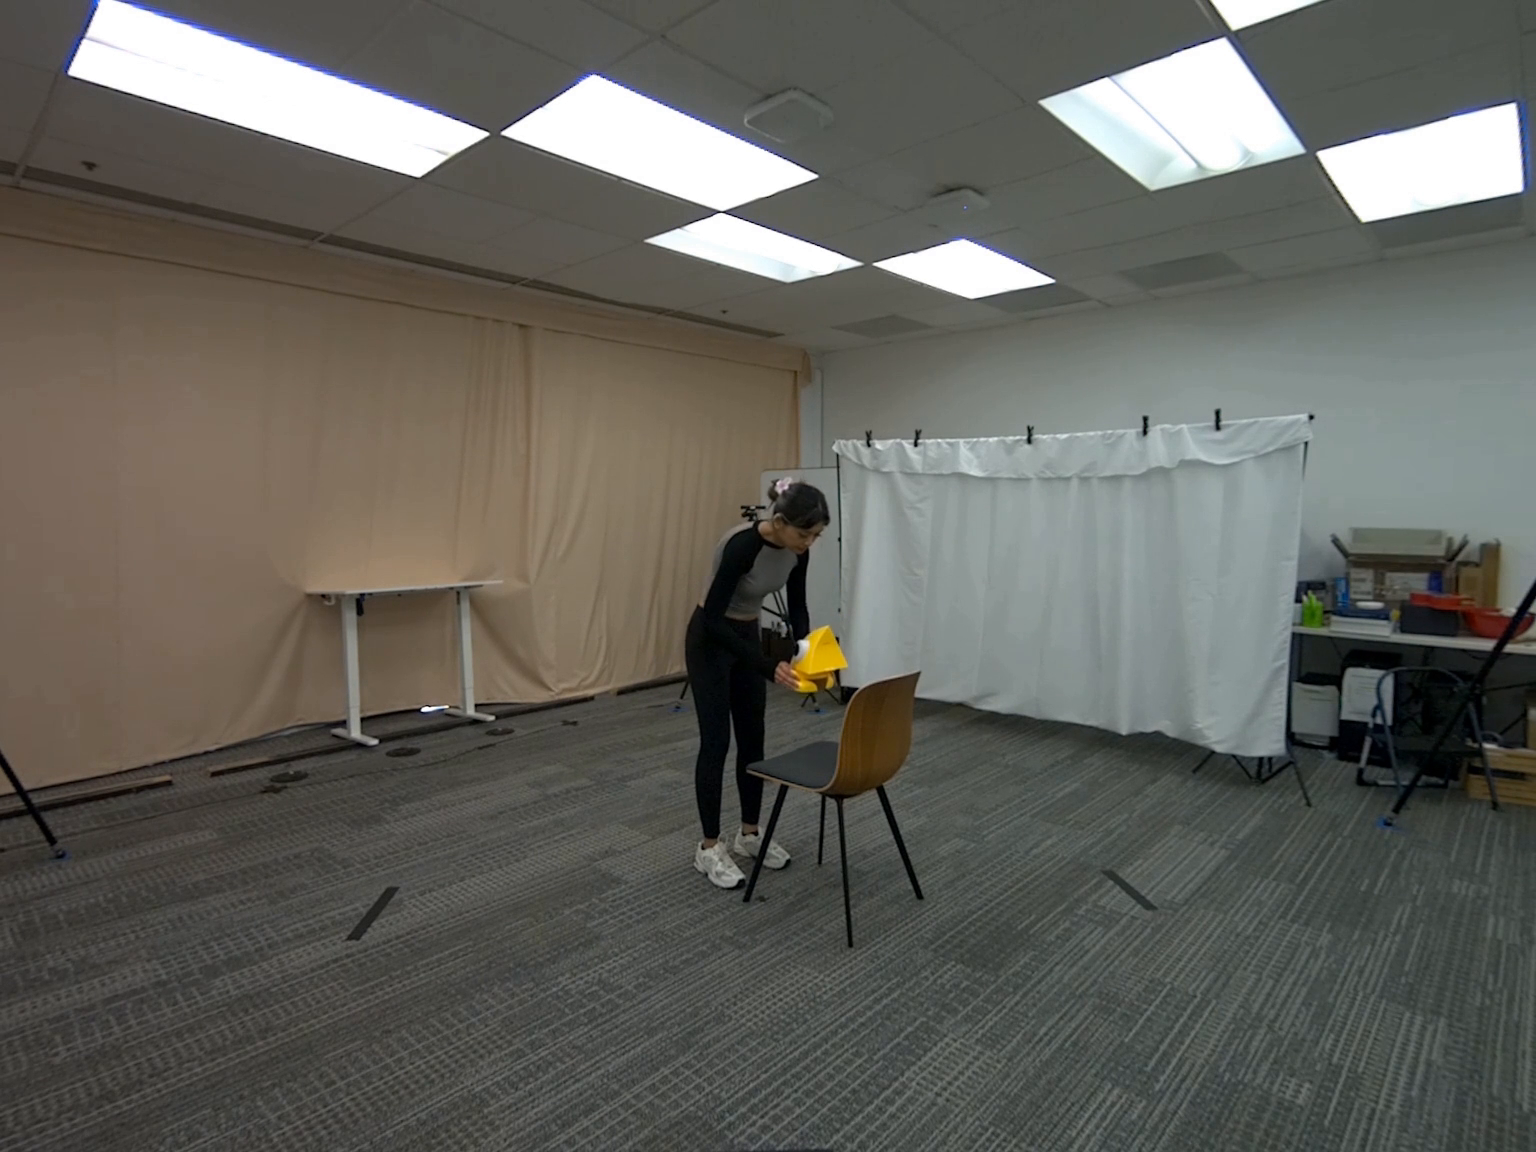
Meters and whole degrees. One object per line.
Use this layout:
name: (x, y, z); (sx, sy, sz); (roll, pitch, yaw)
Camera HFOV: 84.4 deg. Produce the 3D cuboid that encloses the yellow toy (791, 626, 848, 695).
yellow toy: (0.158, 0.274, 2.975); (0.198, 0.229, 0.200); (-3, 14, -42)
